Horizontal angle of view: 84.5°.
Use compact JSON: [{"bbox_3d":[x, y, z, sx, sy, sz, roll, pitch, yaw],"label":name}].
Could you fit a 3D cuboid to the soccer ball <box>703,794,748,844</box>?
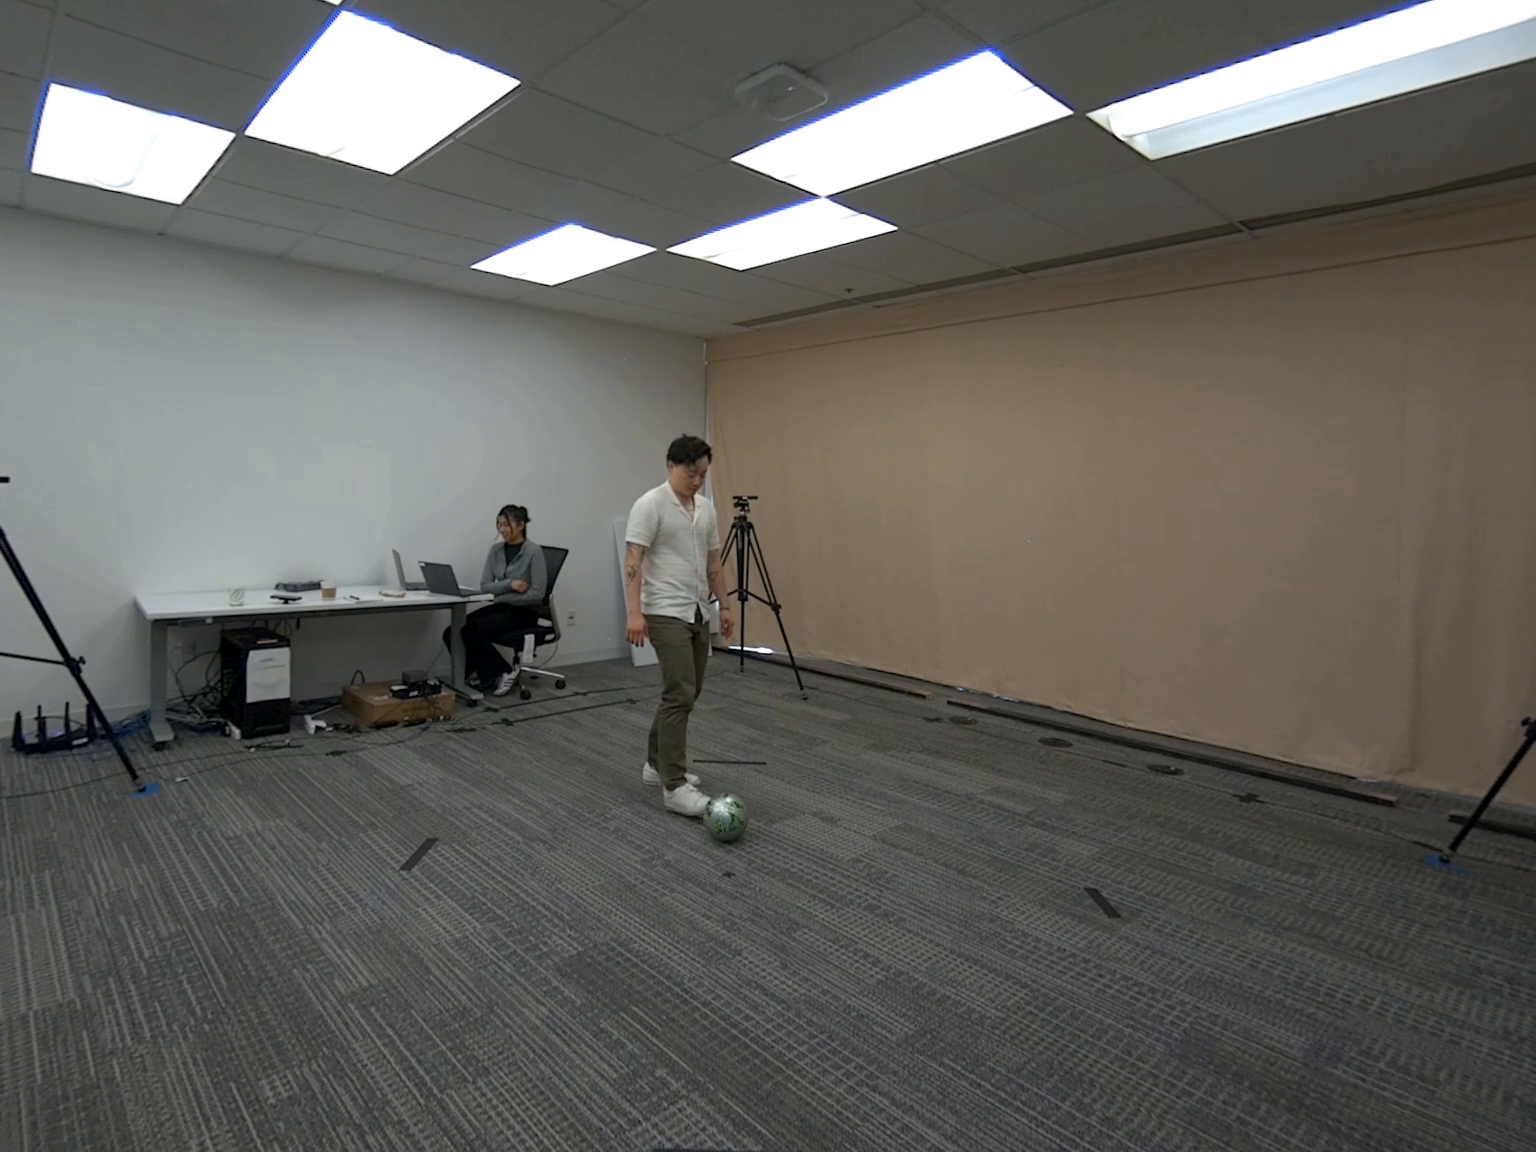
[{"bbox_3d":[-0.183,0.977,3.420,0.187,0.187,0.188,1,4,-1],"label":"soccer ball"}]
